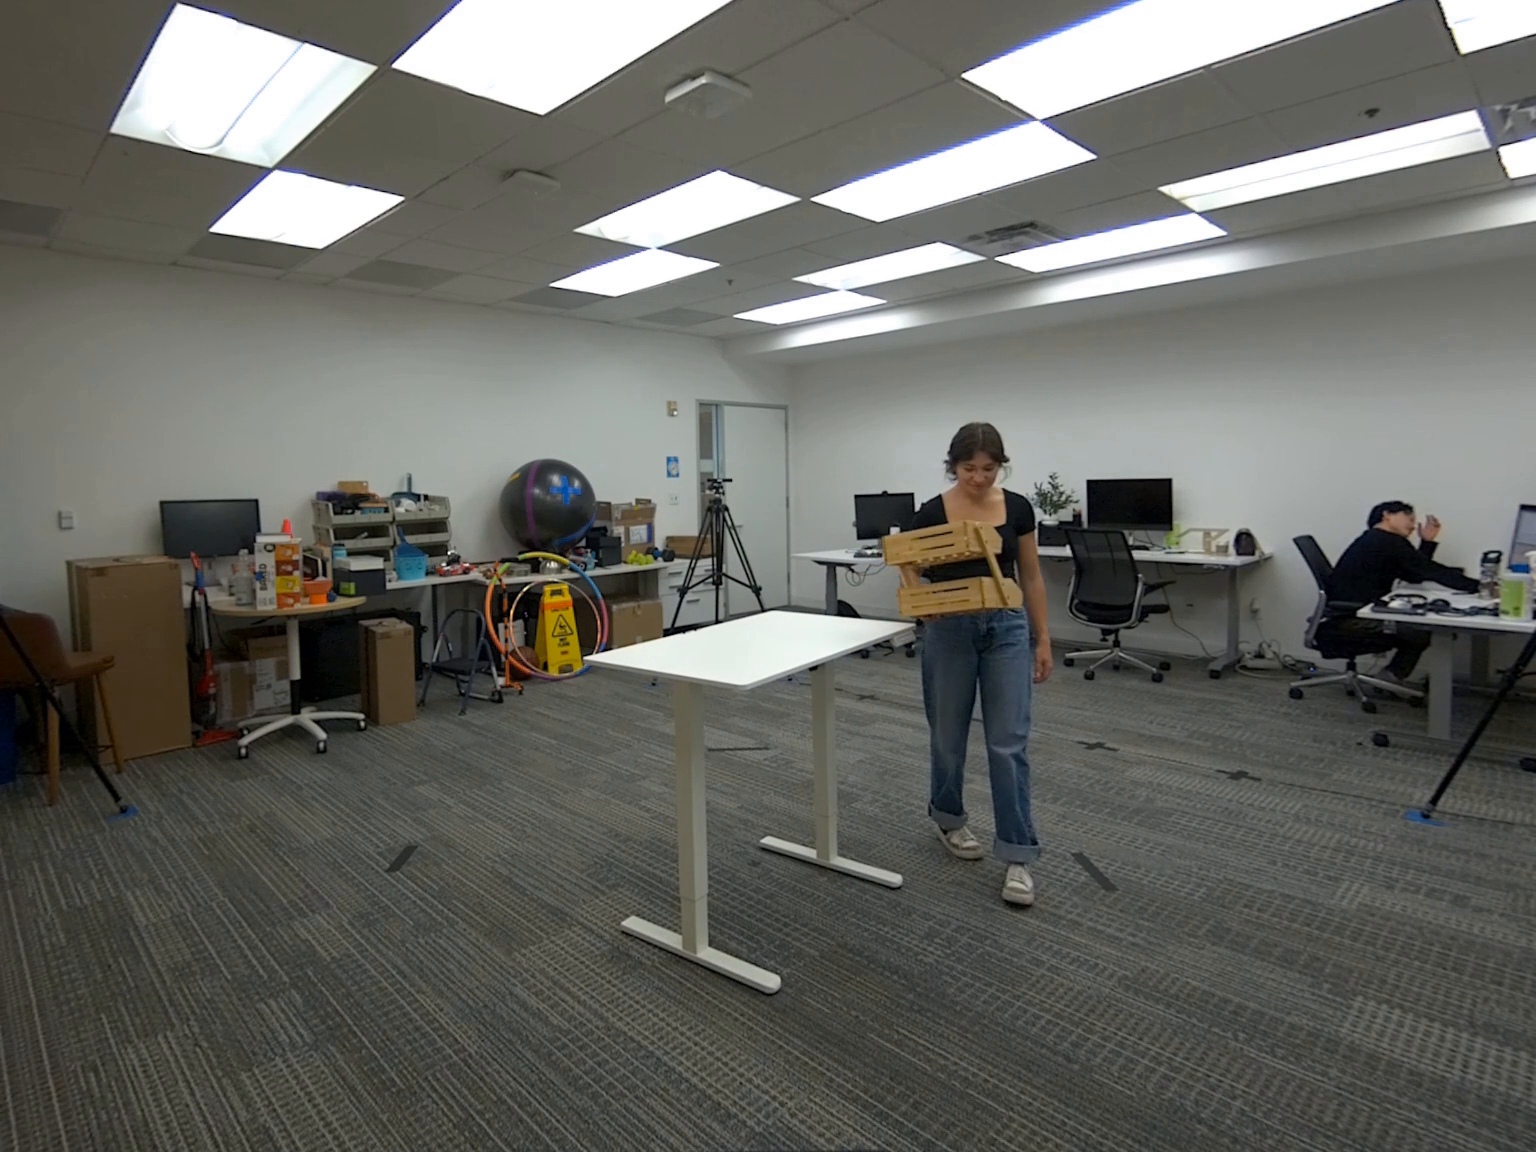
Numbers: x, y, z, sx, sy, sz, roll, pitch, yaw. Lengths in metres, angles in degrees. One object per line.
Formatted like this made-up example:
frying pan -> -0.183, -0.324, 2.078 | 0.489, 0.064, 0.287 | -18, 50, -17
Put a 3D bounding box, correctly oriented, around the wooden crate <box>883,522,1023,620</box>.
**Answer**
wooden crate -> 0.595, -0.015, 2.714 | 0.332, 0.276, 0.293 | -12, -11, 44
